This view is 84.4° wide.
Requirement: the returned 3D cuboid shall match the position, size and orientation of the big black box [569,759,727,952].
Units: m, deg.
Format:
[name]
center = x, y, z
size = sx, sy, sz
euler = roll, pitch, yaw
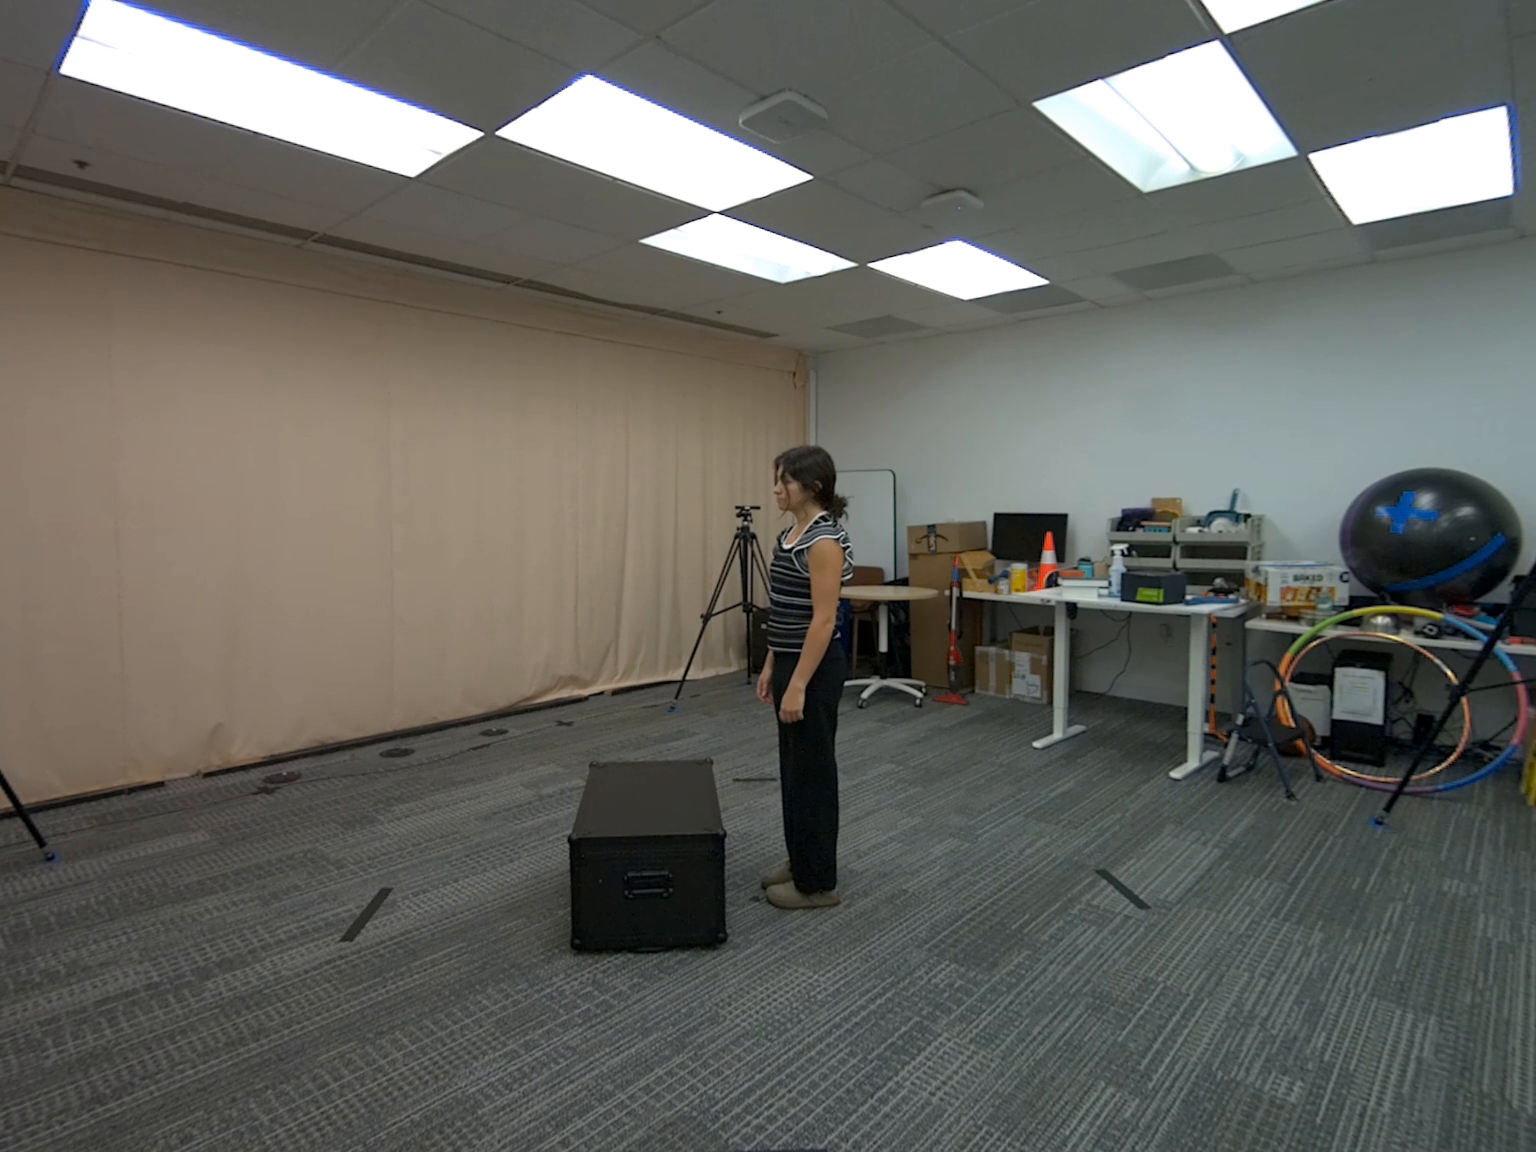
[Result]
[big black box]
center = -0.418, 0.952, 3.026
size = 0.518, 0.395, 0.869
euler = -1, 5, -7
